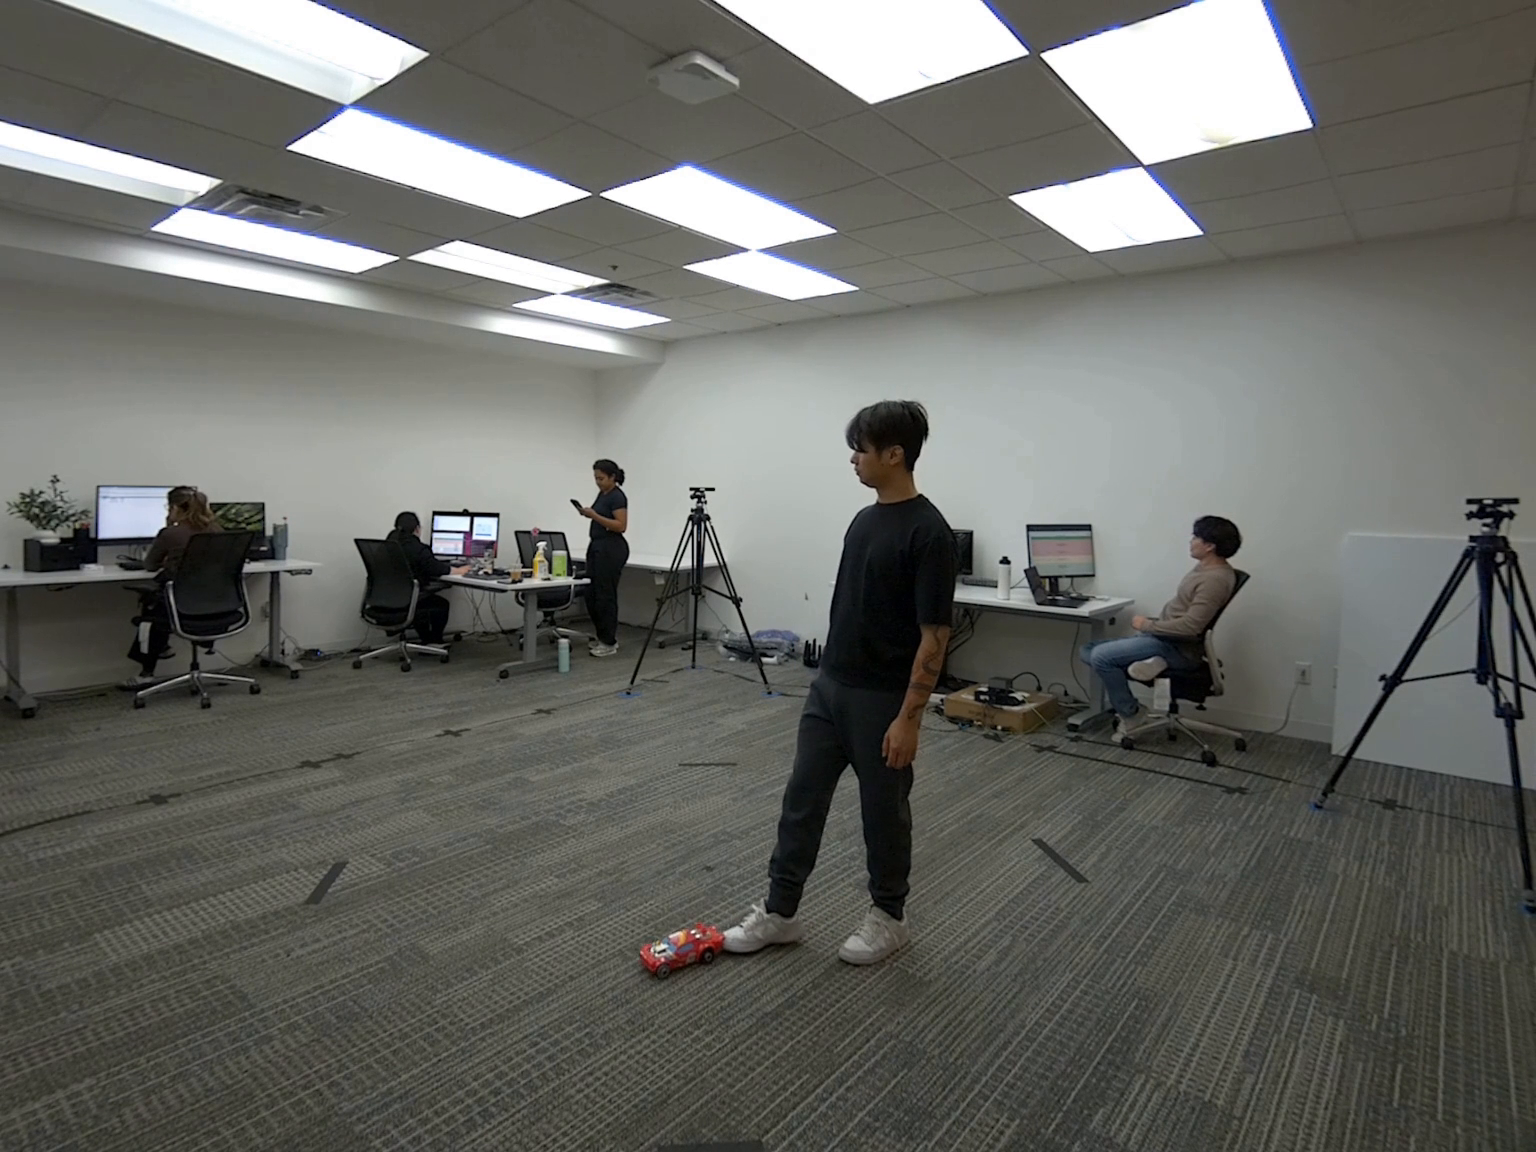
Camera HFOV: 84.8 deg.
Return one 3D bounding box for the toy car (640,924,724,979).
[{"bbox_3d":[-0.254,1.096,2.499,0.249,0.082,0.134,-15,12,-30],"label":"toy car"}]
